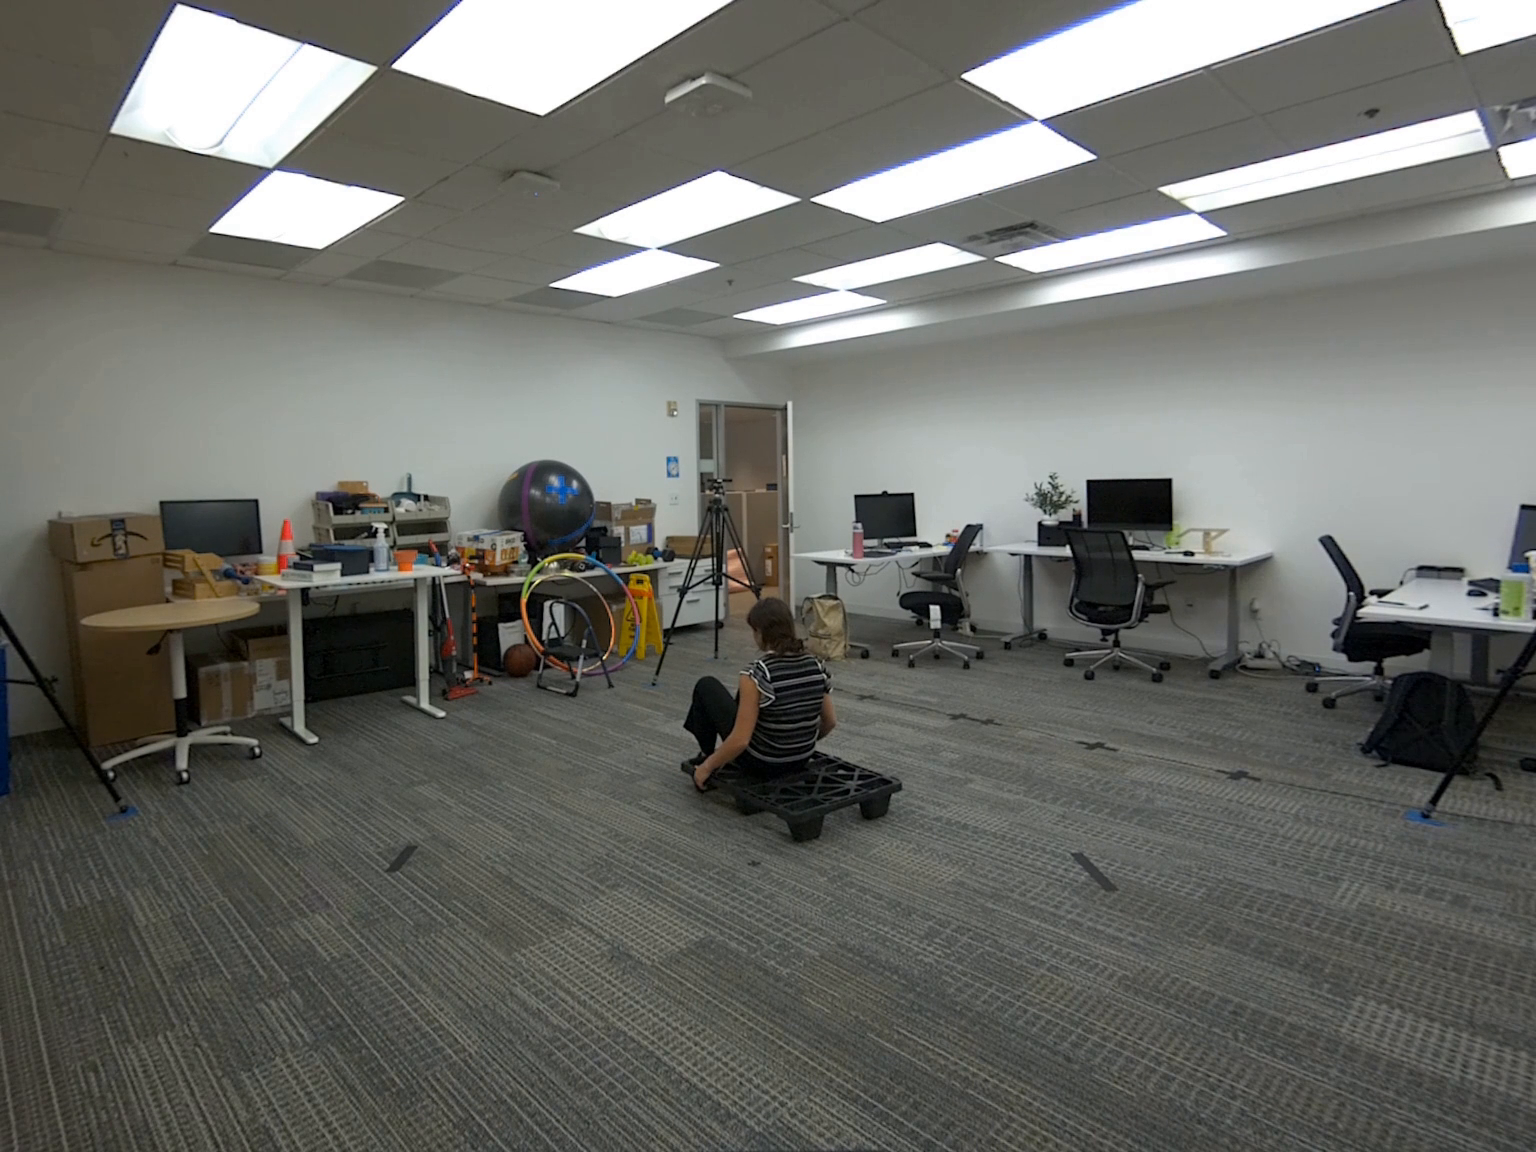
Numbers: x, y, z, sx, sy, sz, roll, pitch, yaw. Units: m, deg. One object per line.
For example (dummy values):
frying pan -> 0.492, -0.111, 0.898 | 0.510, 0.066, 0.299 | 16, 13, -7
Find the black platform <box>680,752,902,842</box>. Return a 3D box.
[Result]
black platform -> 0.084, 0.908, 3.693 | 0.589, 0.143, 0.829 | -4, 6, -36
